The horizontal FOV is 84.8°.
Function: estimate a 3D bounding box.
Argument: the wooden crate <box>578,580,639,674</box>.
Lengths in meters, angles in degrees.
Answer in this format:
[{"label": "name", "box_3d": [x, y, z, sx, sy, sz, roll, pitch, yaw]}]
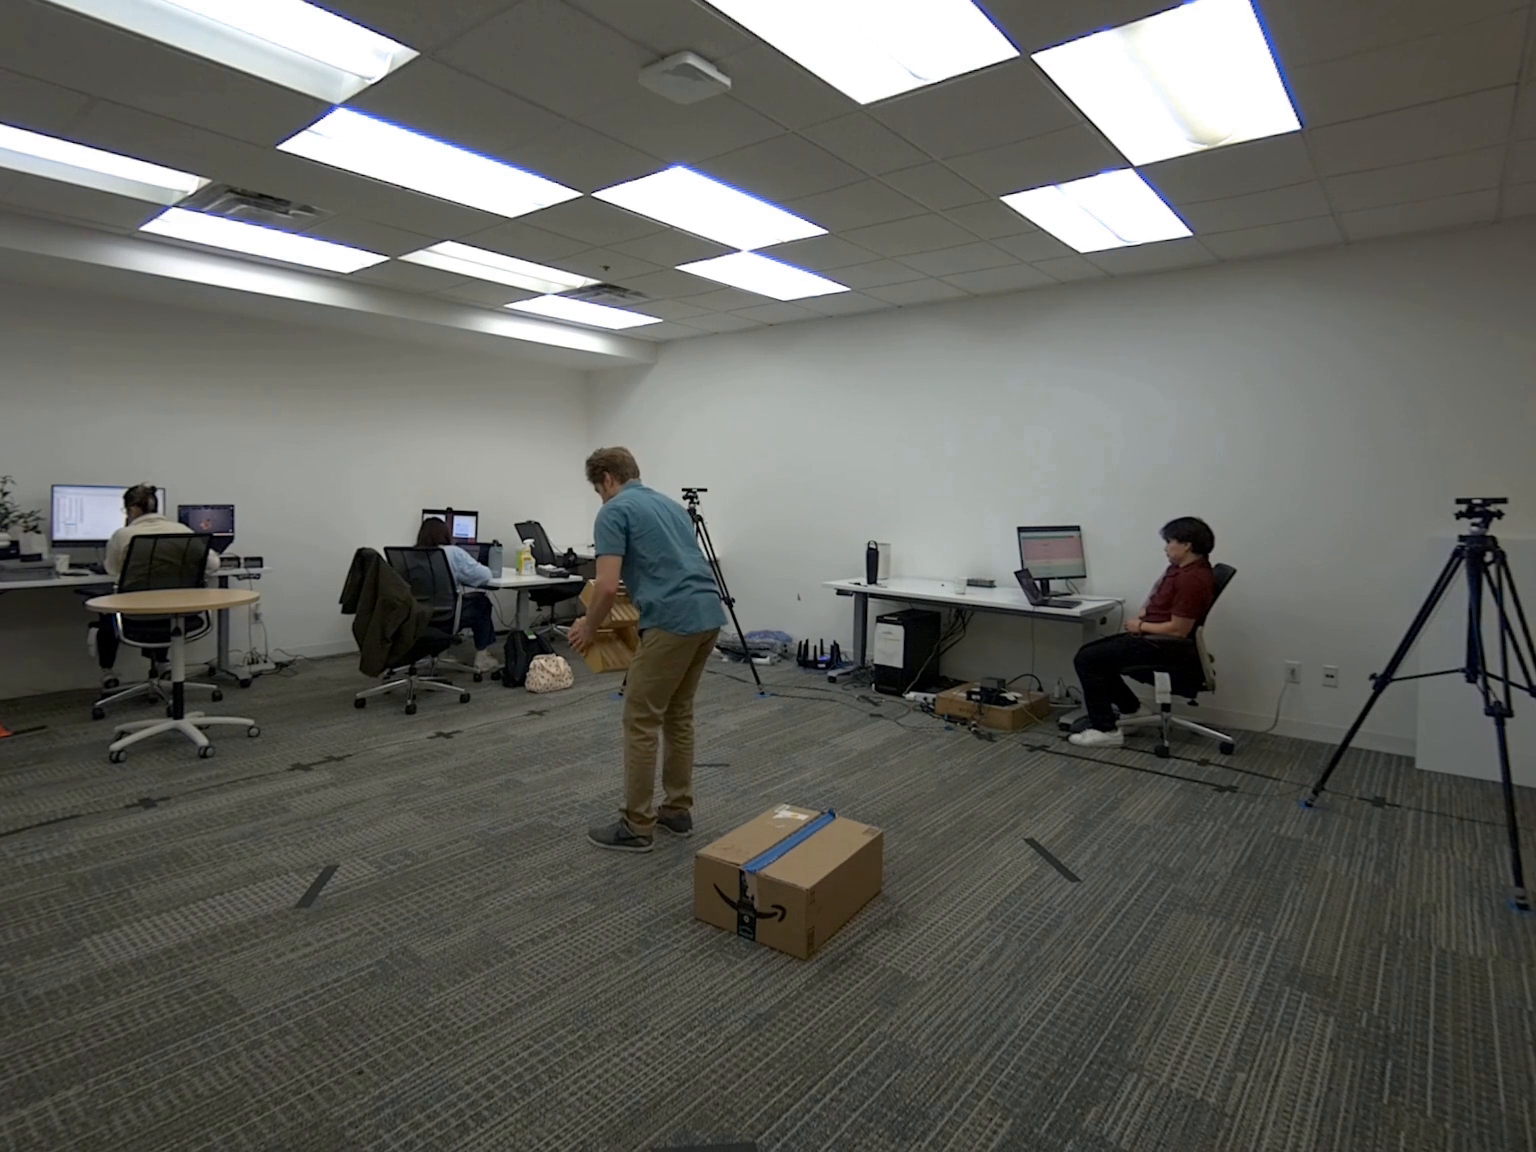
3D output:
[{"label": "wooden crate", "box_3d": [-0.628, 0.214, 3.551, 0.313, 0.272, 0.314, 45, 23, 28]}]
